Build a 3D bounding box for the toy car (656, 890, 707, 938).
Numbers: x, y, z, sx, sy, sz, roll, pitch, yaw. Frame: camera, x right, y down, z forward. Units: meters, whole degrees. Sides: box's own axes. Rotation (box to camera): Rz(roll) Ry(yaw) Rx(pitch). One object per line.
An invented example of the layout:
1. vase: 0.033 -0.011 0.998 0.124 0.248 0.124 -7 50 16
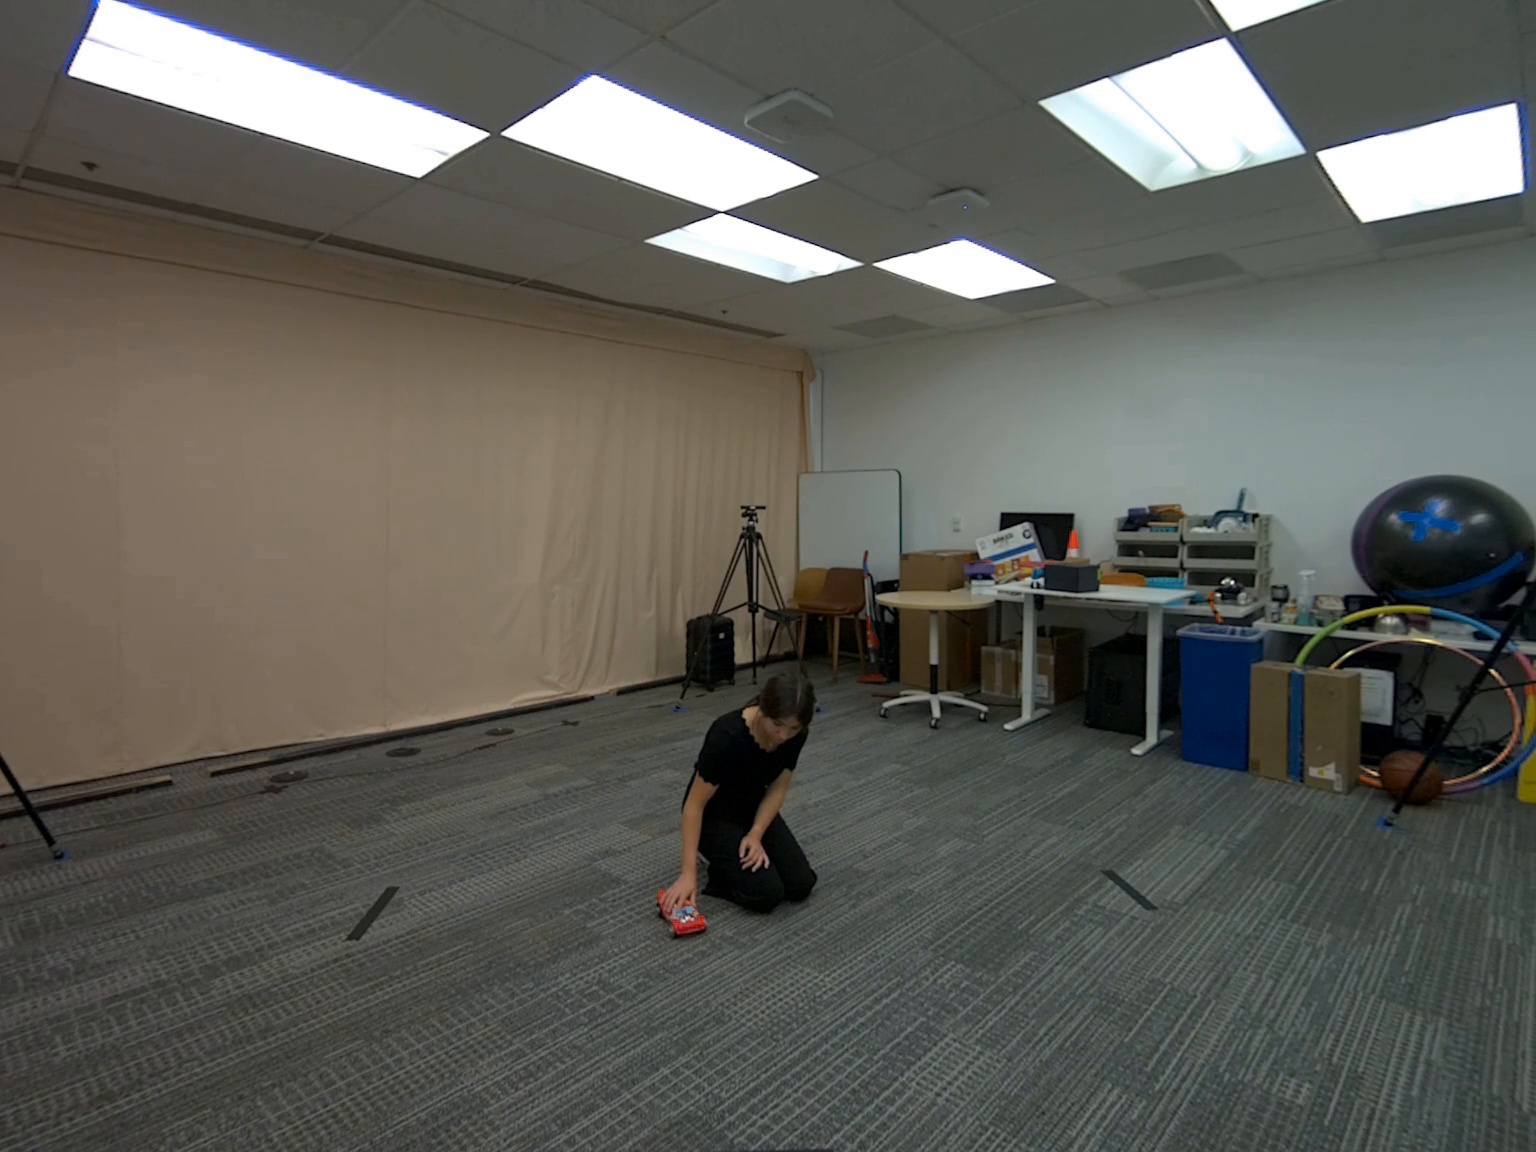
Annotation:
1. toy car: -0.300 1.124 2.822 0.127 0.082 0.262 -4 15 -23
